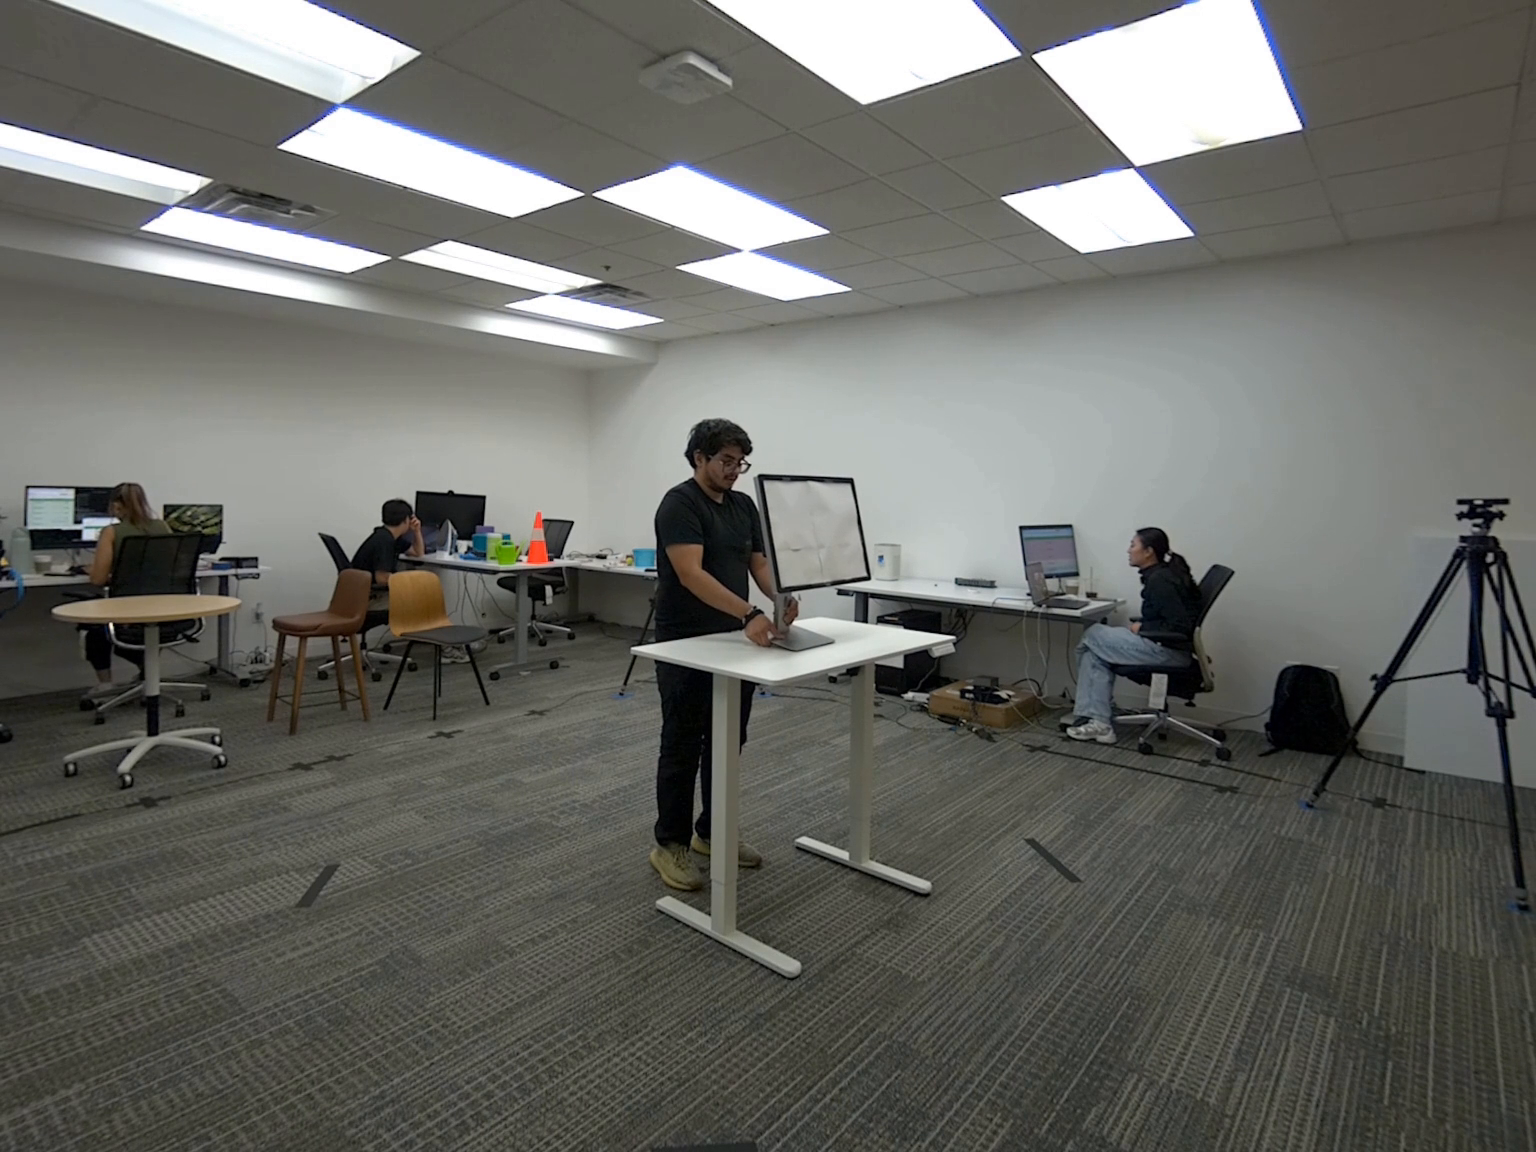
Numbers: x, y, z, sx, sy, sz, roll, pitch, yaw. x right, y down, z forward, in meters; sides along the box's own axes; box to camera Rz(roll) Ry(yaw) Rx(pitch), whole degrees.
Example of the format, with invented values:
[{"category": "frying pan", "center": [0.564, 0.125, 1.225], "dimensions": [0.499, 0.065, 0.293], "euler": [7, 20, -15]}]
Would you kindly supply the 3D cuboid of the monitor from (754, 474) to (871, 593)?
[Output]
[{"category": "monitor", "center": [0.089, -0.056, 2.797], "dimensions": [0.216, 0.553, 0.549], "euler": [-1, 2, 36]}]
